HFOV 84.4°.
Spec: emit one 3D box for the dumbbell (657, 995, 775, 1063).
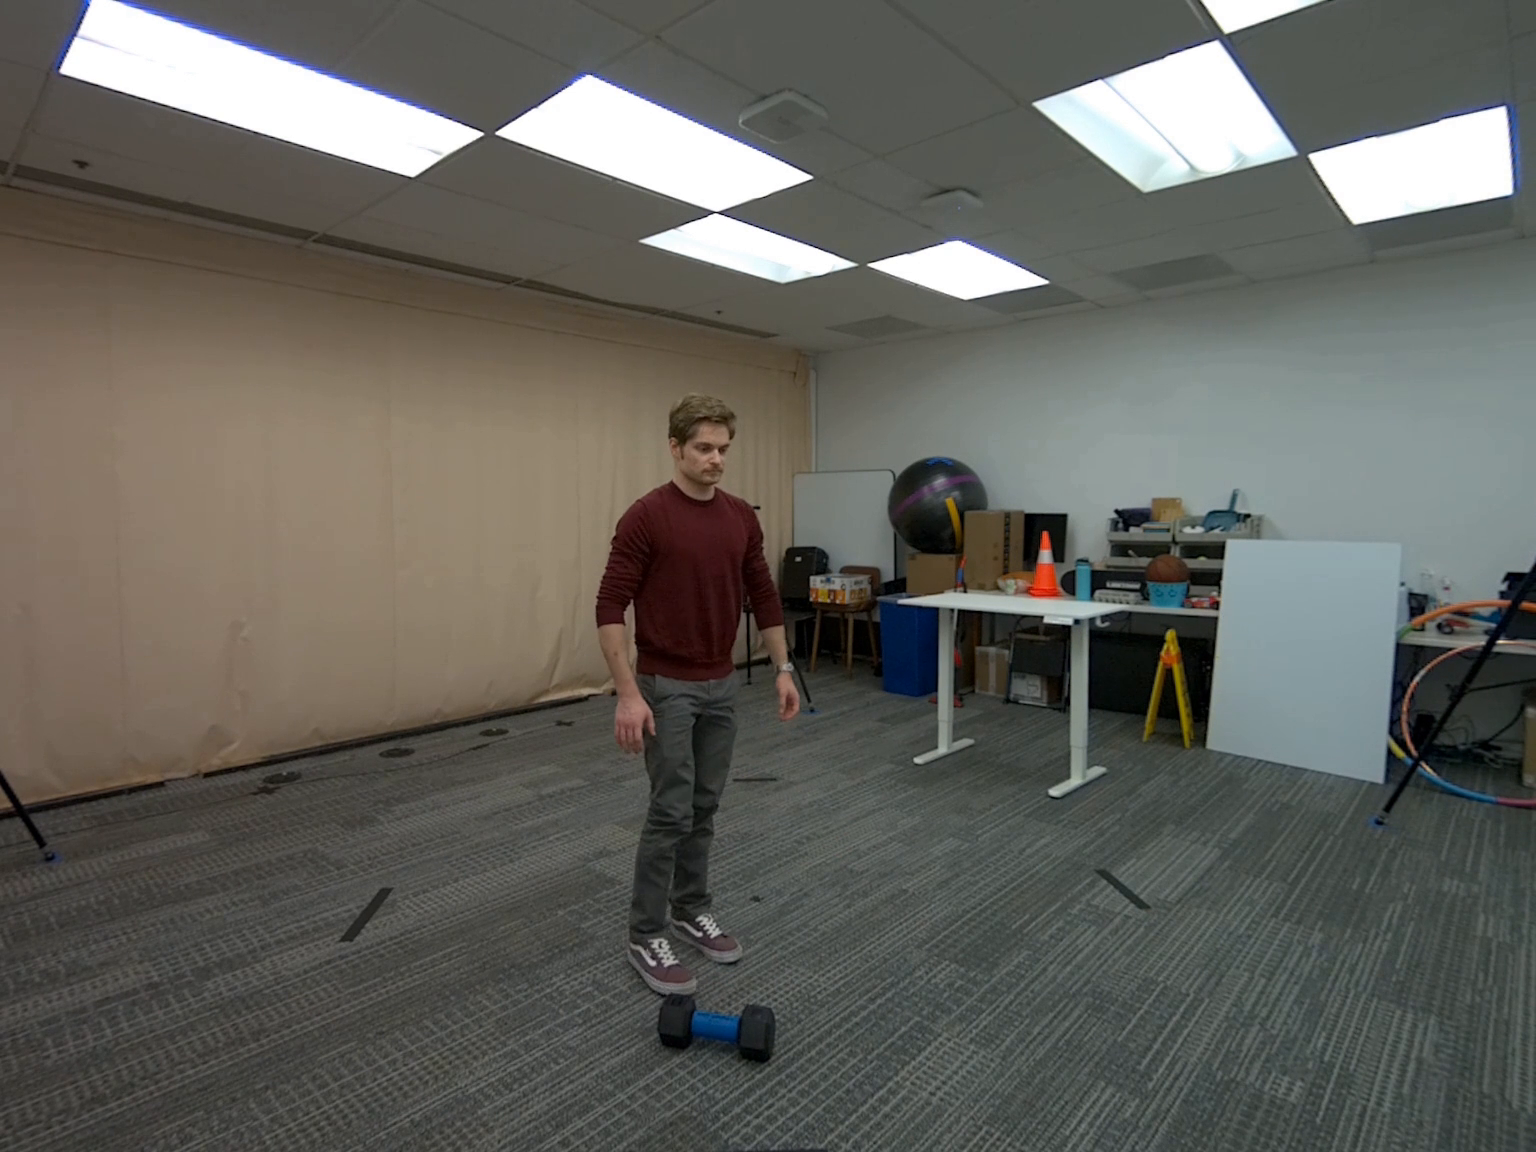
[{"bbox_3d":[-0.130,1.160,2.162,0.298,0.120,0.109,1,34,14],"label":"dumbbell"}]
